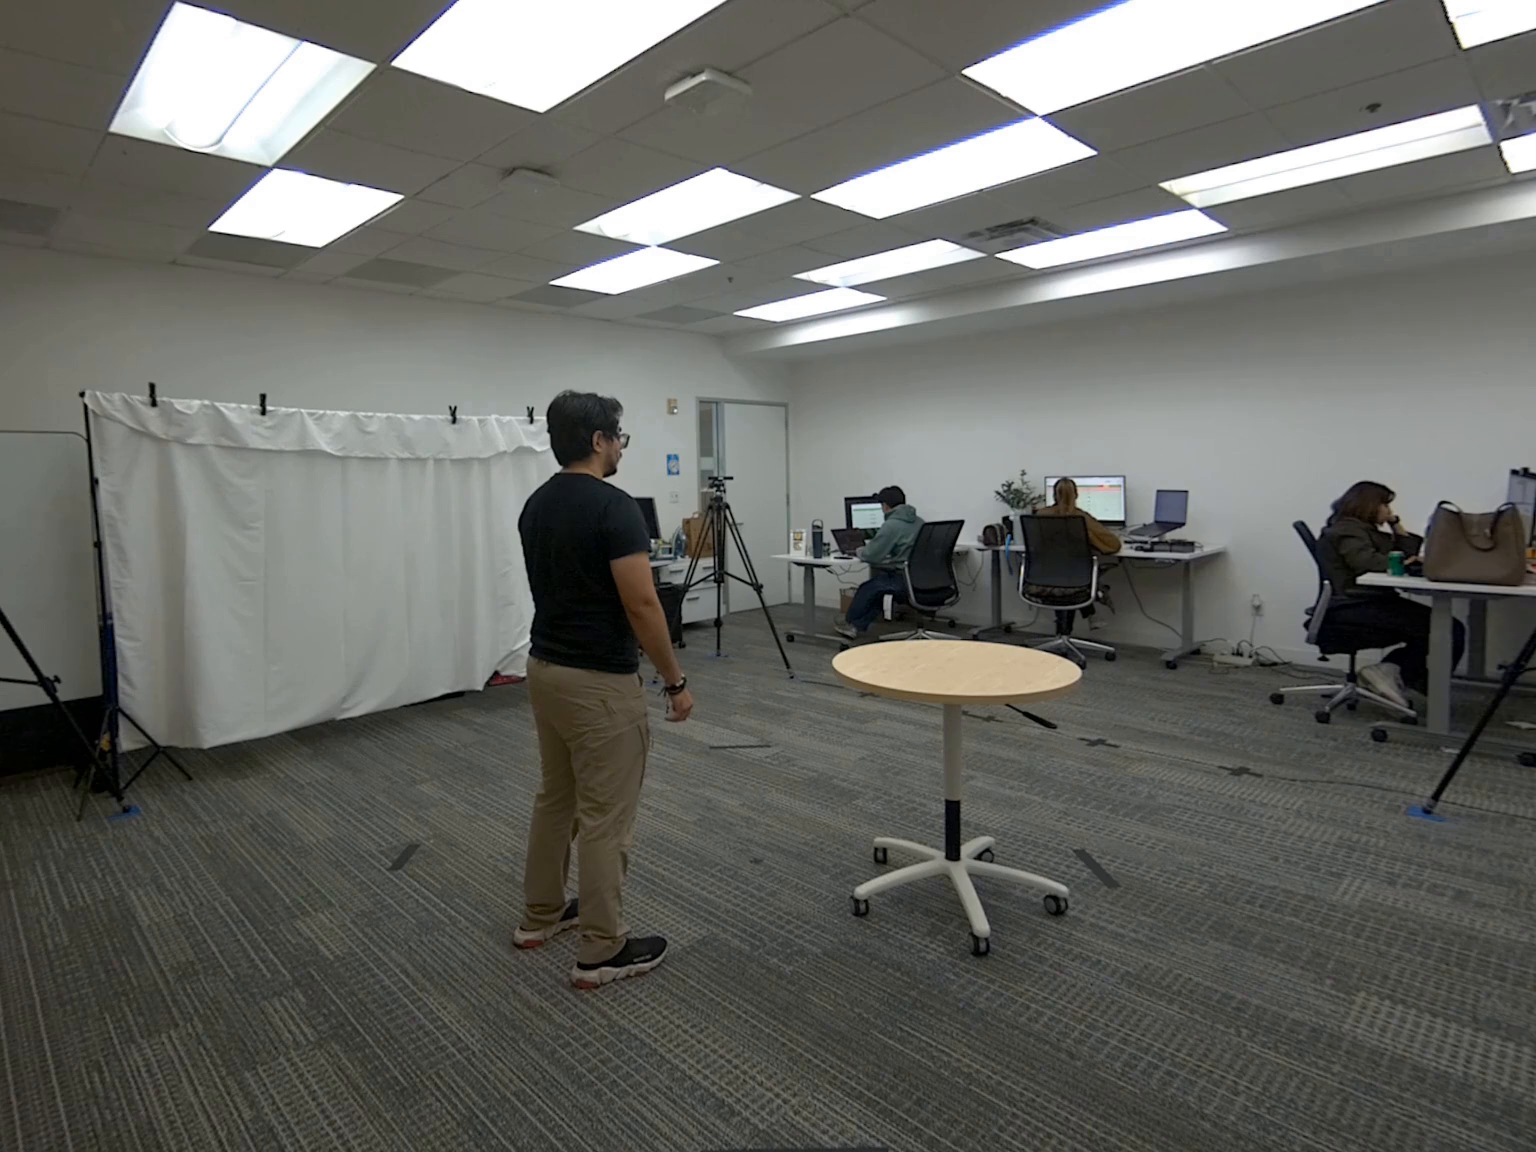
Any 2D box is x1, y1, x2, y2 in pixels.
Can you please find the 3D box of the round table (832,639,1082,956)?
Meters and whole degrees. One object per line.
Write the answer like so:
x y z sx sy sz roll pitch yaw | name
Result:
0.612 0.672 2.762 0.784 0.783 0.790 -1 6 -2 | round table
